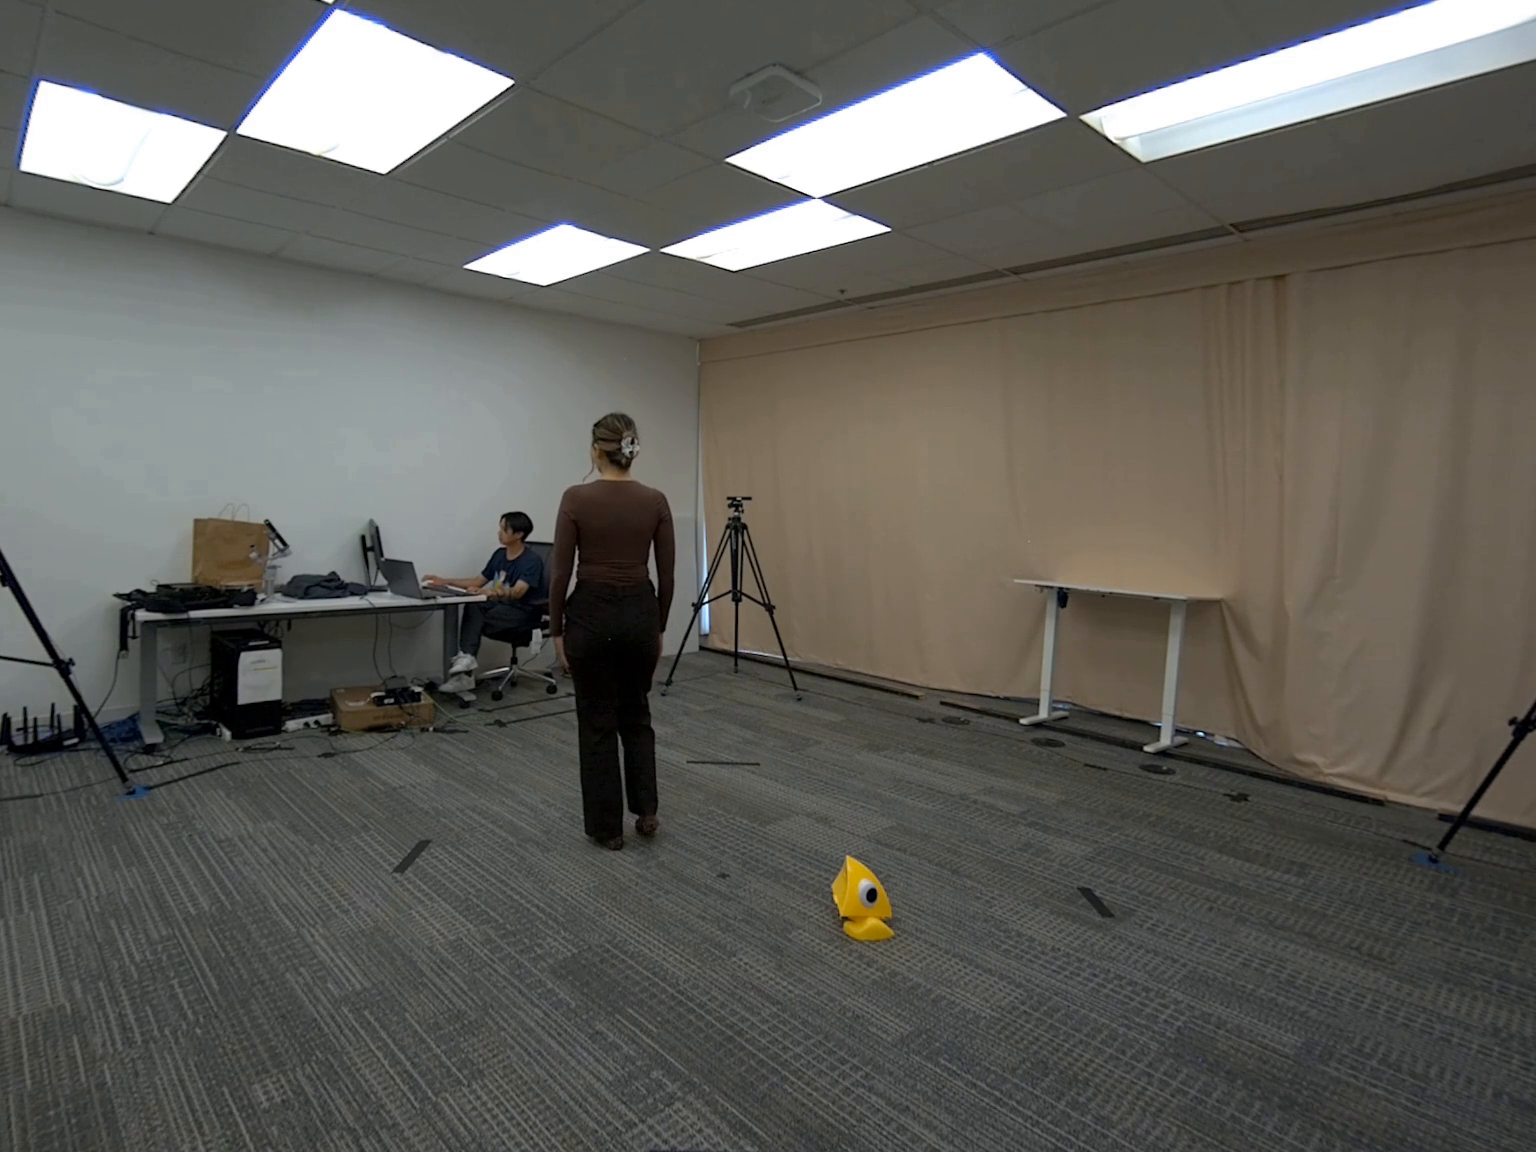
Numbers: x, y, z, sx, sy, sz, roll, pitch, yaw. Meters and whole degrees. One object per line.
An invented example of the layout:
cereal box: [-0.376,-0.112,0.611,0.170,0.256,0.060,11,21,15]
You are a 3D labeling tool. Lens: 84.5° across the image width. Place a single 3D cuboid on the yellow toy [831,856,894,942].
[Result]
yellow toy: [0.311,1.036,2.761,0.192,0.230,0.206,1,5,-3]
